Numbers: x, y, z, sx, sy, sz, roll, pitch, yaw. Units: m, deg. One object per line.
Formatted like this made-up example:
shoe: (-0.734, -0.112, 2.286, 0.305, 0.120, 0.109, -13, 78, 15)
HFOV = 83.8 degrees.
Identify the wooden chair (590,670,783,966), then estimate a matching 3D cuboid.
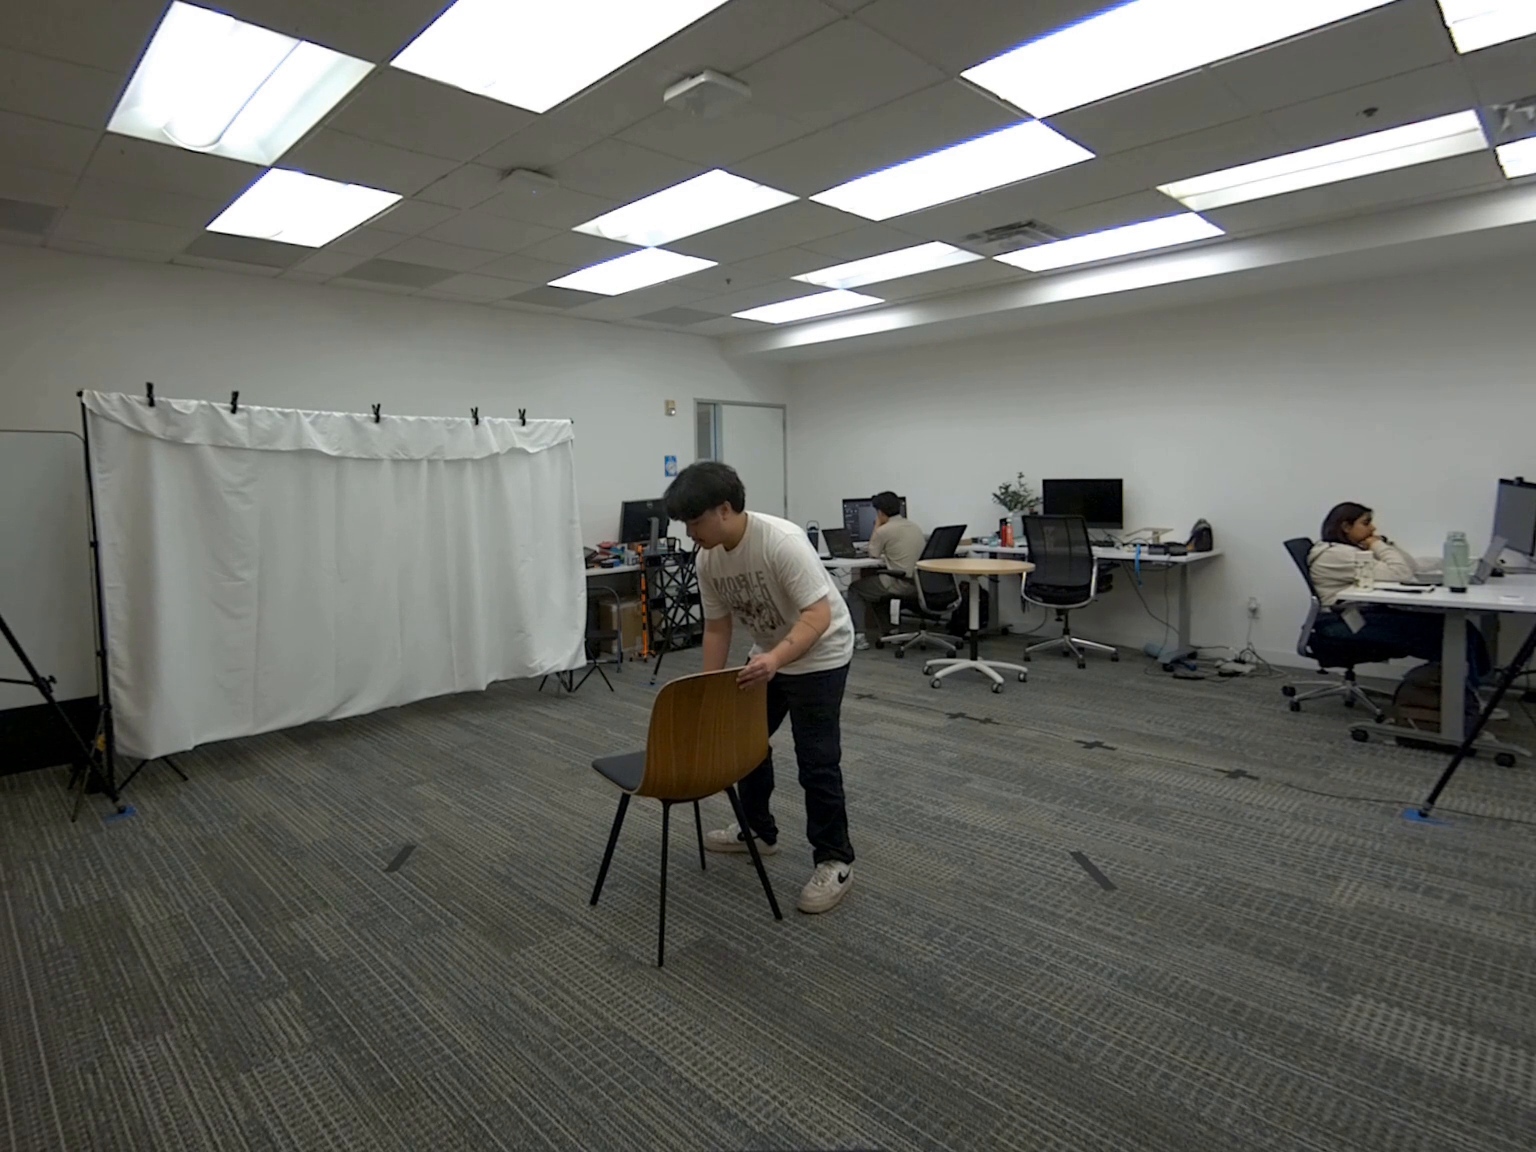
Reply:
wooden chair: (-0.286, 0.663, 2.732, 0.466, 0.871, 0.540, -5, 10, -36)
